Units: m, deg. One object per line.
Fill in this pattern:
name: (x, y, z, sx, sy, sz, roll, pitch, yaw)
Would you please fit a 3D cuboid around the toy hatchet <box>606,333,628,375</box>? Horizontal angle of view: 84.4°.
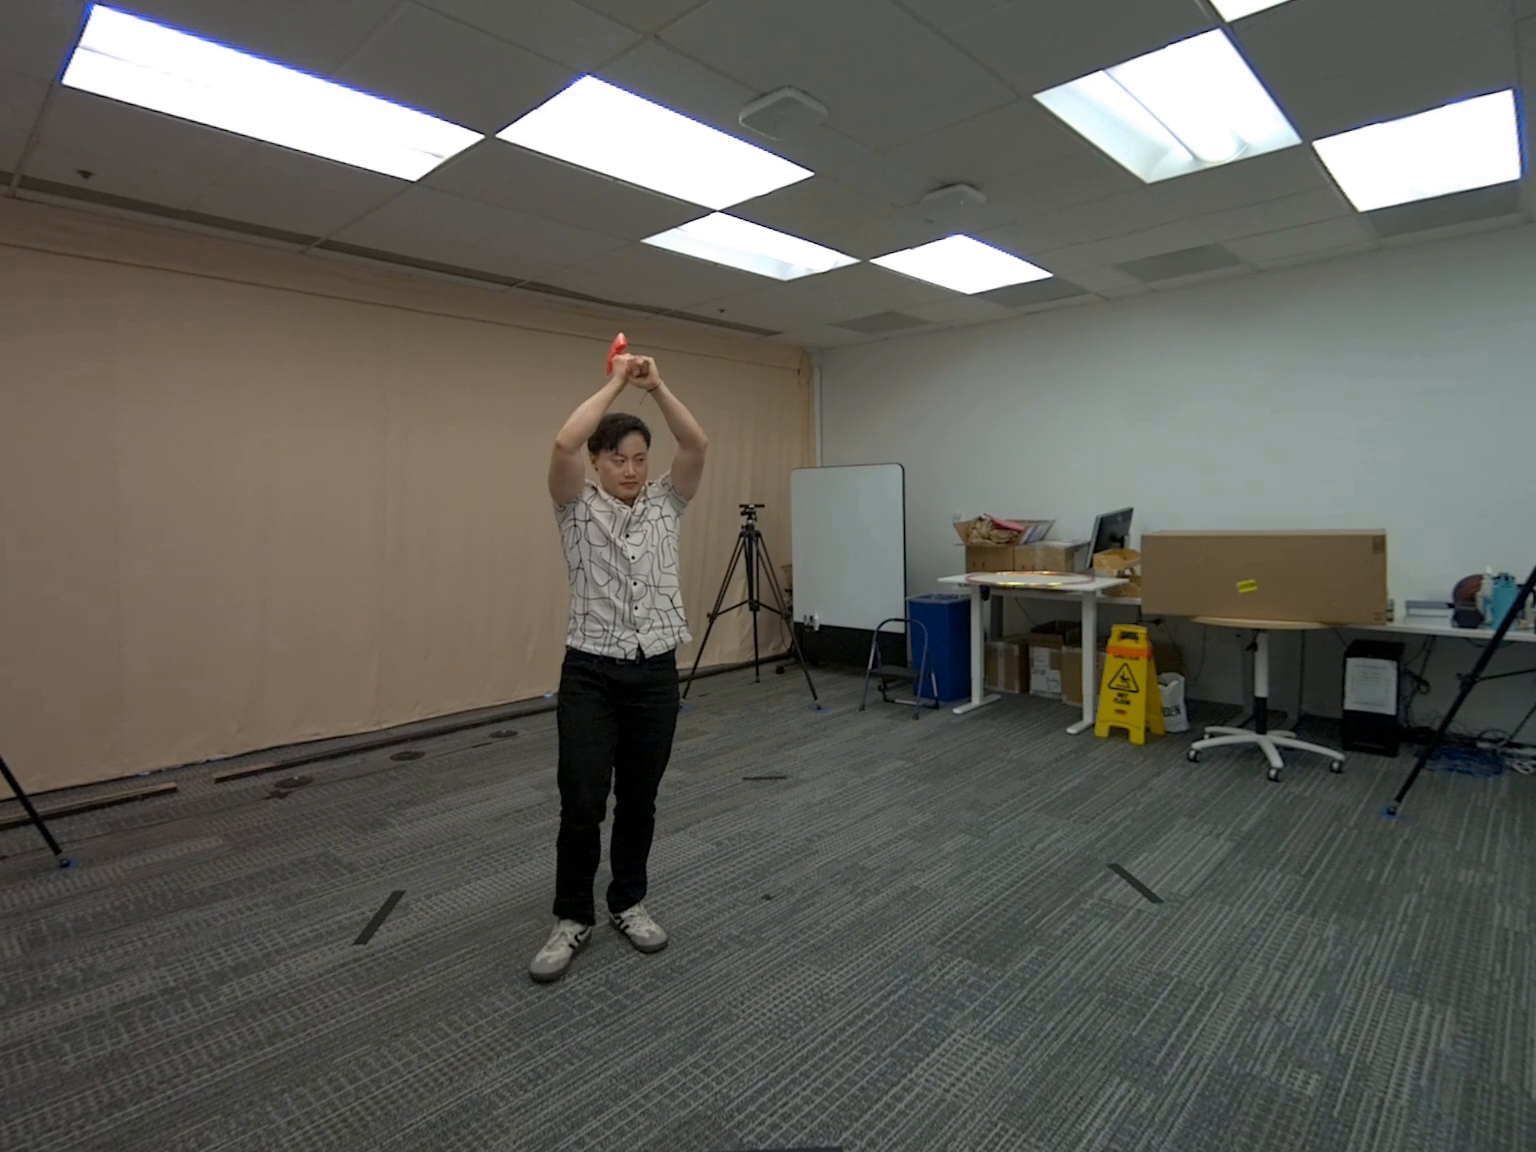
toy hatchet: (-0.425, -0.667, 2.498, 0.029, 0.131, 0.278, 16, 3, -29)
